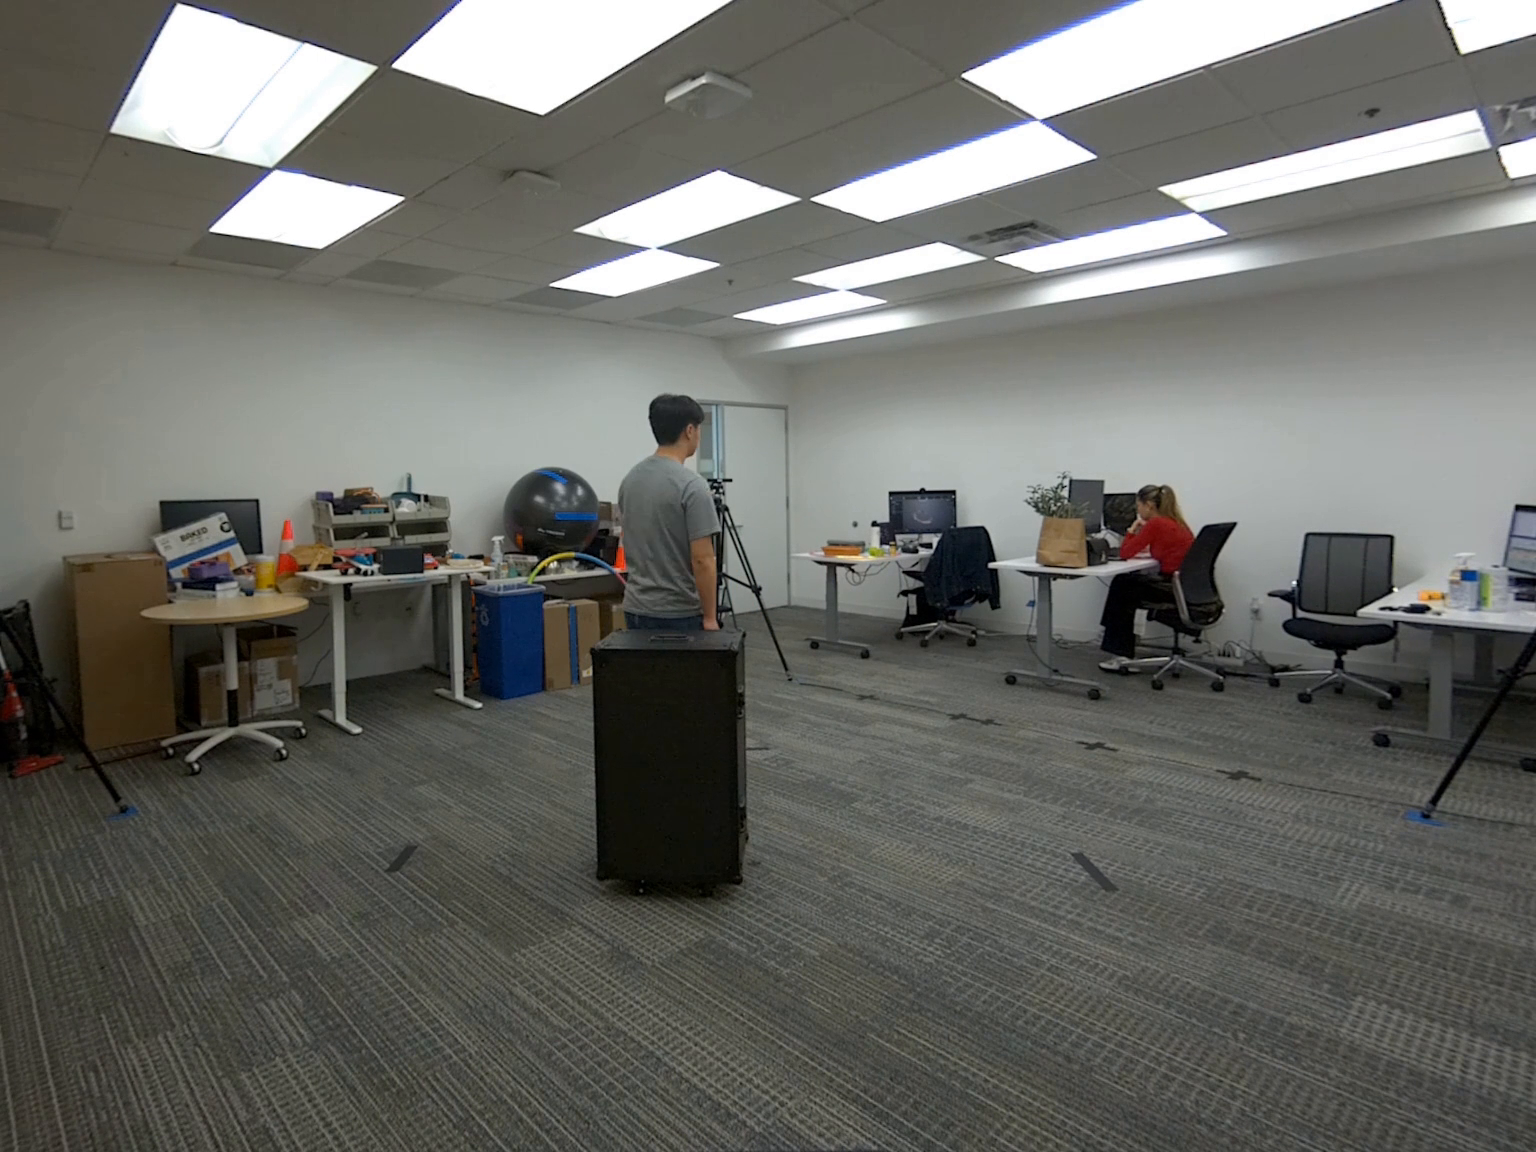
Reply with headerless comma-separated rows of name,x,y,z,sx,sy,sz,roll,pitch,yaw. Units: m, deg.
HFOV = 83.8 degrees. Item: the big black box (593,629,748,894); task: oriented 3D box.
big black box,-0.328,0.637,2.985,0.524,0.859,0.395,-1,3,5
